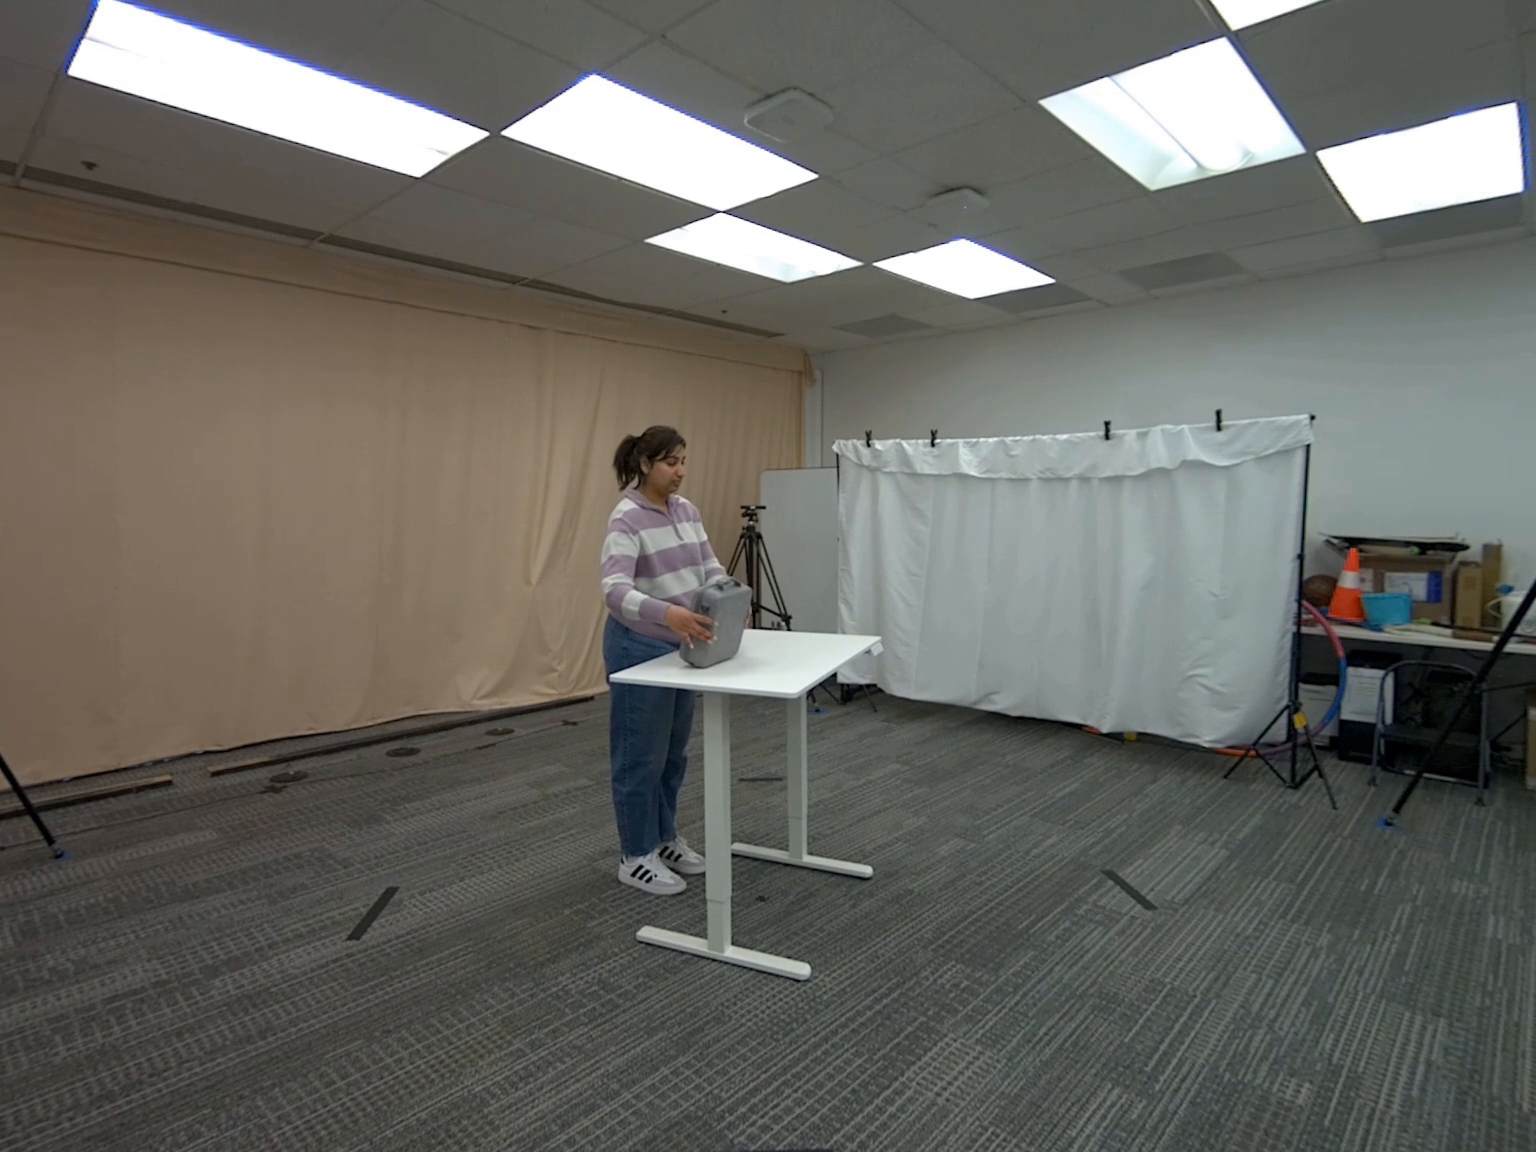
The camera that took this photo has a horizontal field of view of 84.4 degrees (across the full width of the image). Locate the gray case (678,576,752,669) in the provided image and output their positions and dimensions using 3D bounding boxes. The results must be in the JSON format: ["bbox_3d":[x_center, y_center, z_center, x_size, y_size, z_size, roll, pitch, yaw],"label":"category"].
[{"bbox_3d":[-0.157,0.148,2.733,0.107,0.259,0.251,17,13,23],"label":"gray case"}]
